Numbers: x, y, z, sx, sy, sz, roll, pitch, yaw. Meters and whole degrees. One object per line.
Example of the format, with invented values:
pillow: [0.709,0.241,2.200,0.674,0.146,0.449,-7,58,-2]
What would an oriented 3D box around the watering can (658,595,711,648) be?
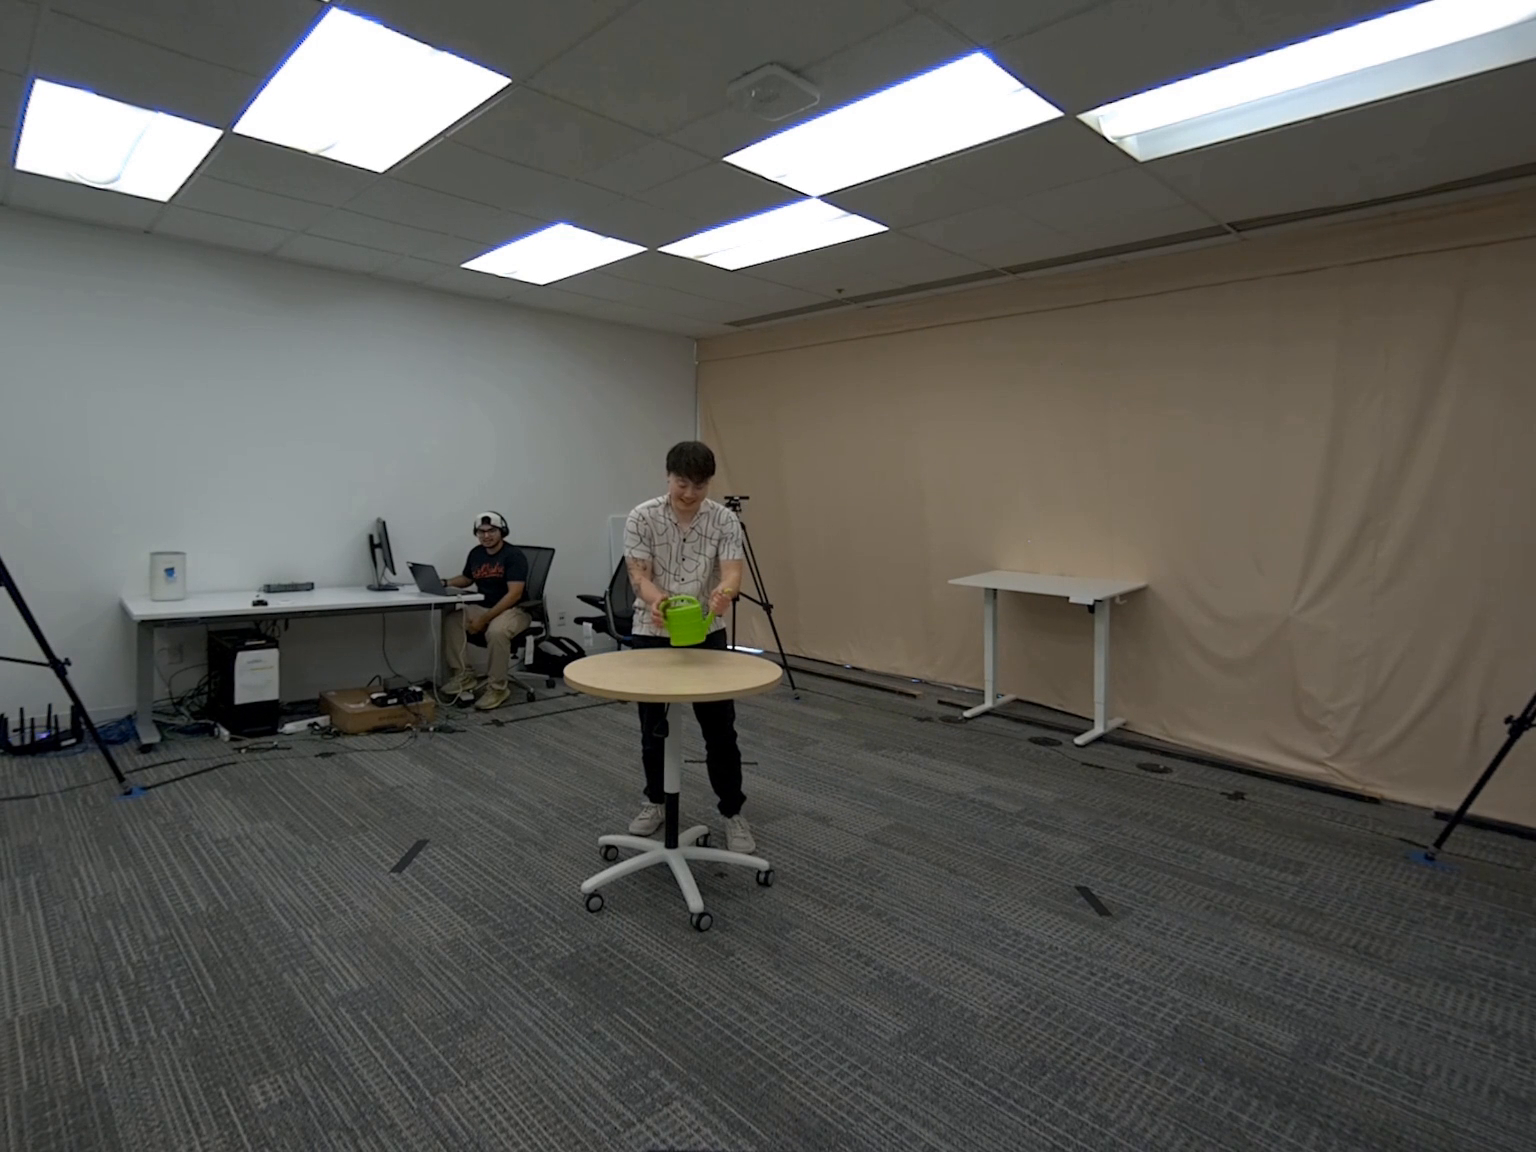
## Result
watering can: [-0.282,0.159,3.052,0.279,0.175,0.099,-2,15,2]
